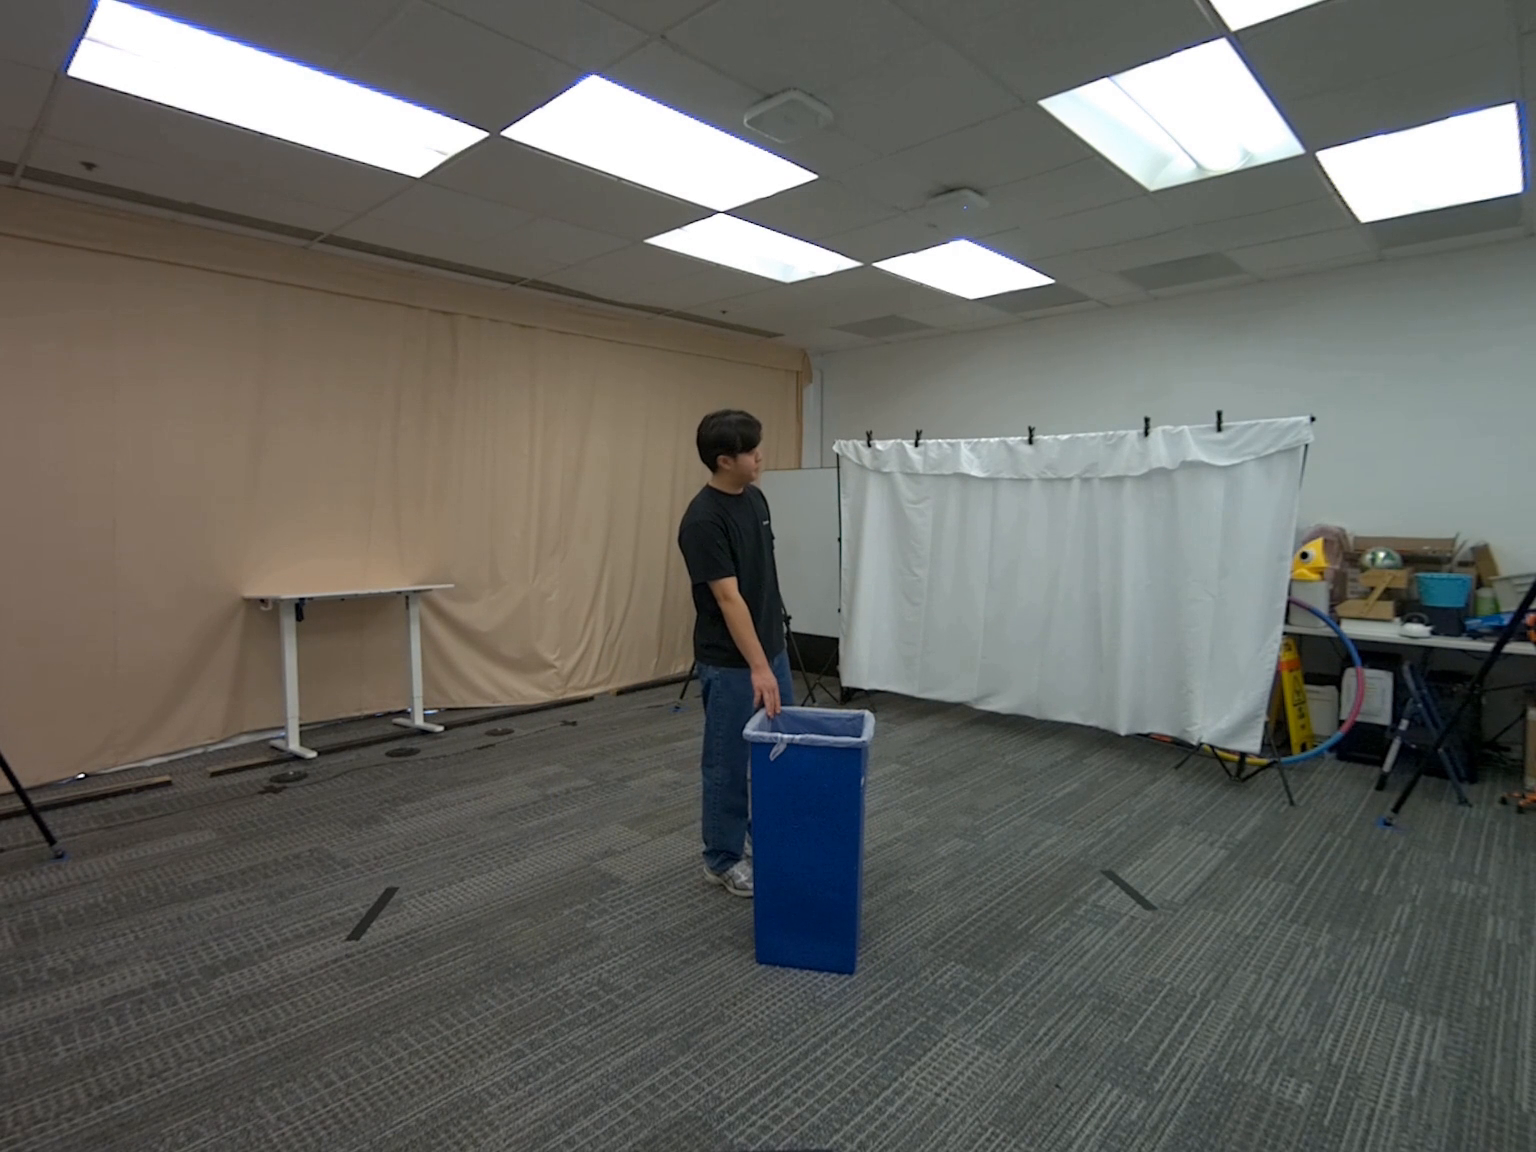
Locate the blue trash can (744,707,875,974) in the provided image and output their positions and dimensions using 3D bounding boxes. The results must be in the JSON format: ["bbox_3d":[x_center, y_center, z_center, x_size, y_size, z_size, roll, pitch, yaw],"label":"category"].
[{"bbox_3d":[0.145,0.815,2.647,0.383,0.713,0.369,1,2,11],"label":"blue trash can"}]
